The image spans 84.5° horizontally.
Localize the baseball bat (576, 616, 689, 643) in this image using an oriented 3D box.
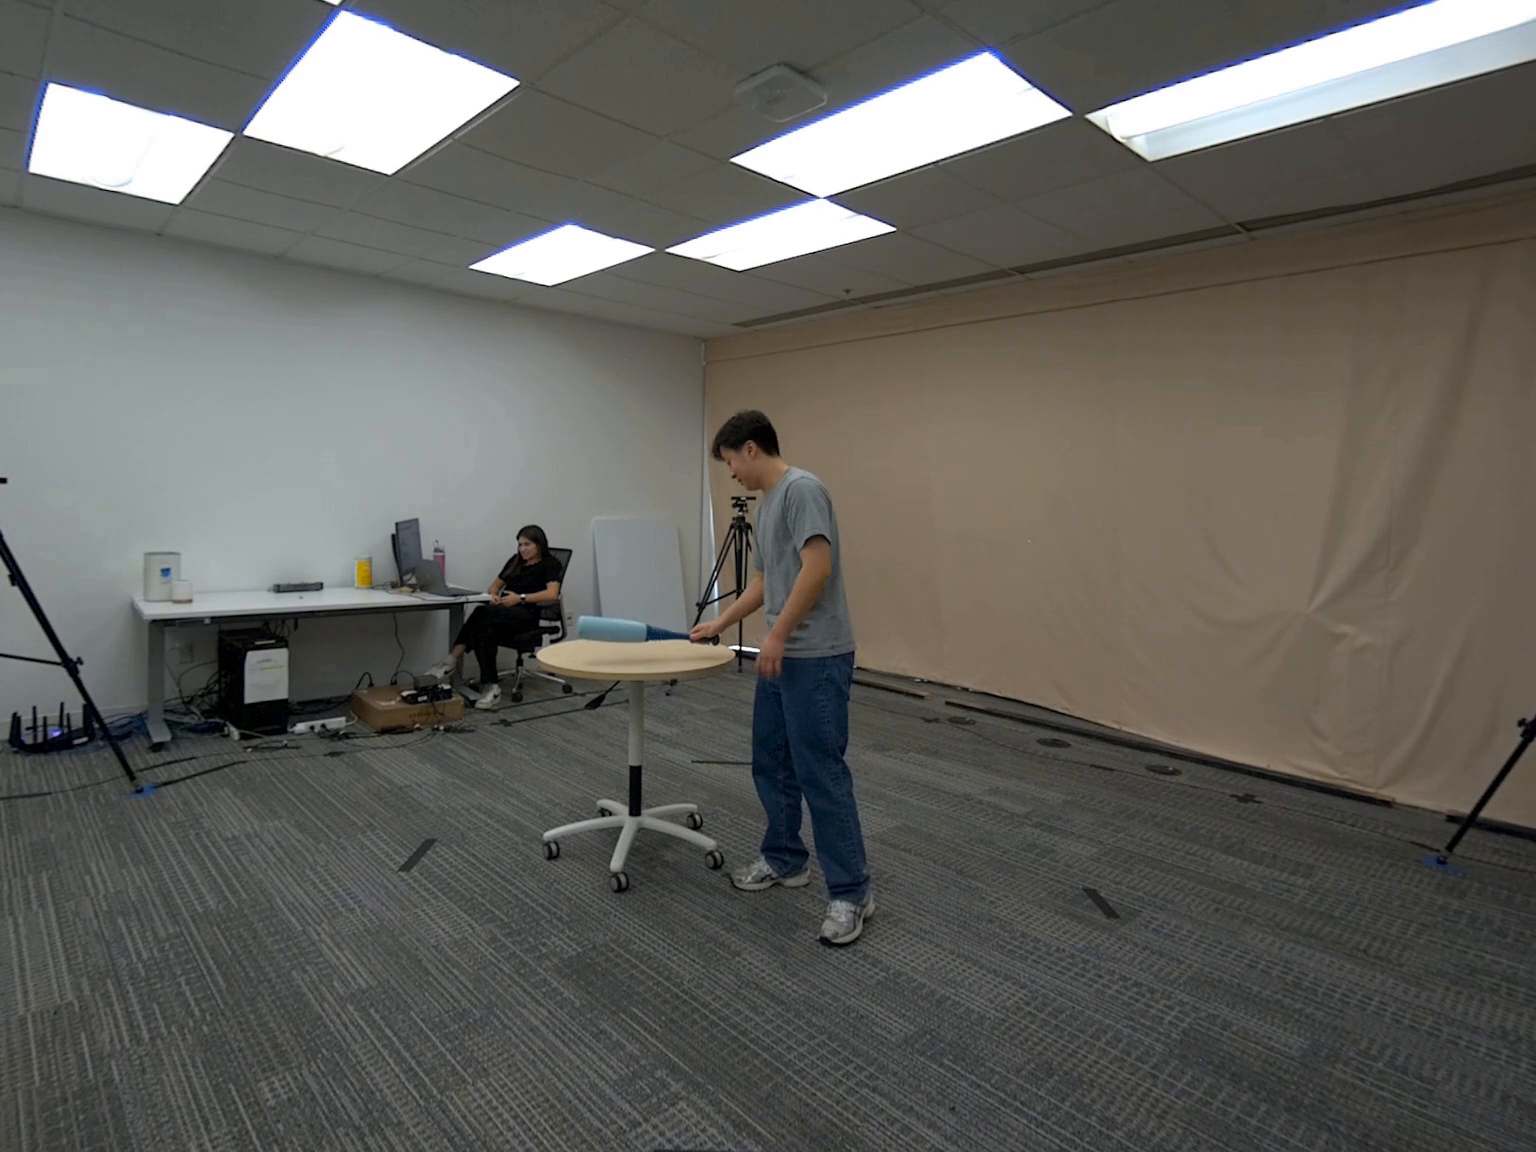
[{"bbox_3d":[-0.427,0.198,3.103,0.537,0.089,0.090,8,3,-12],"label":"baseball bat"}]
